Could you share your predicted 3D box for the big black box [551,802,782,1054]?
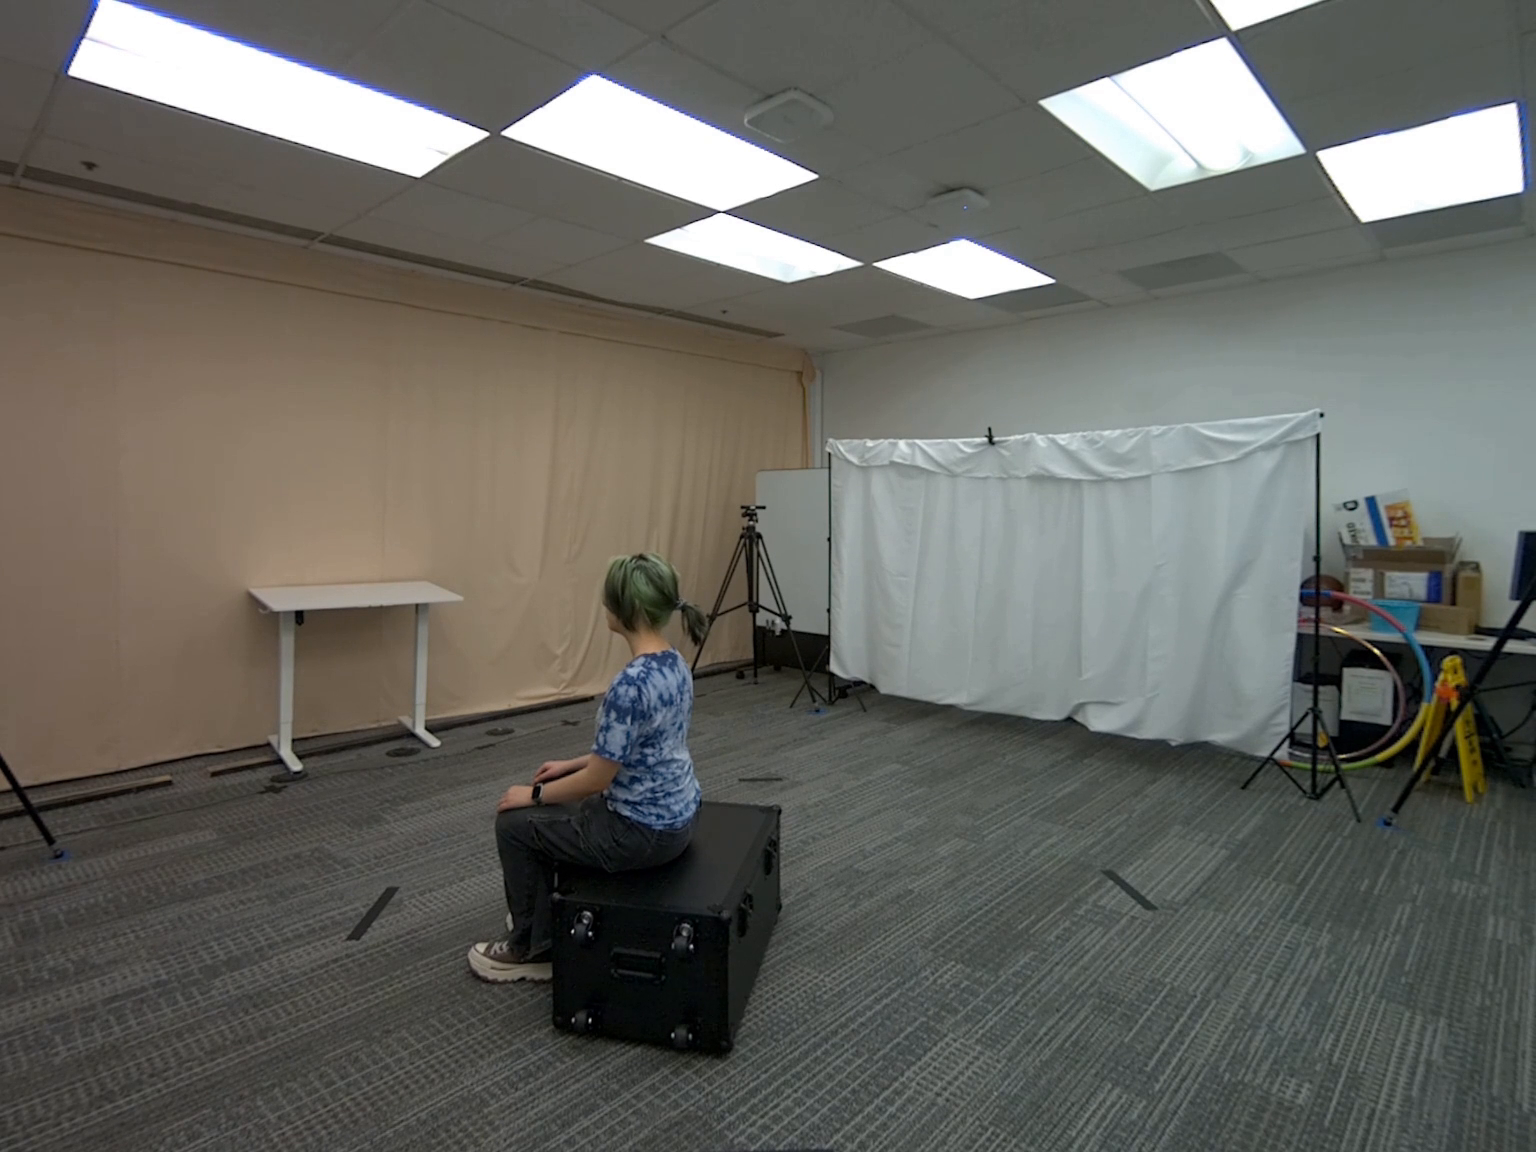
[{"bbox_3d":[-0.264,0.996,2.495,0.528,0.395,0.852,1,4,11],"label":"big black box"}]
